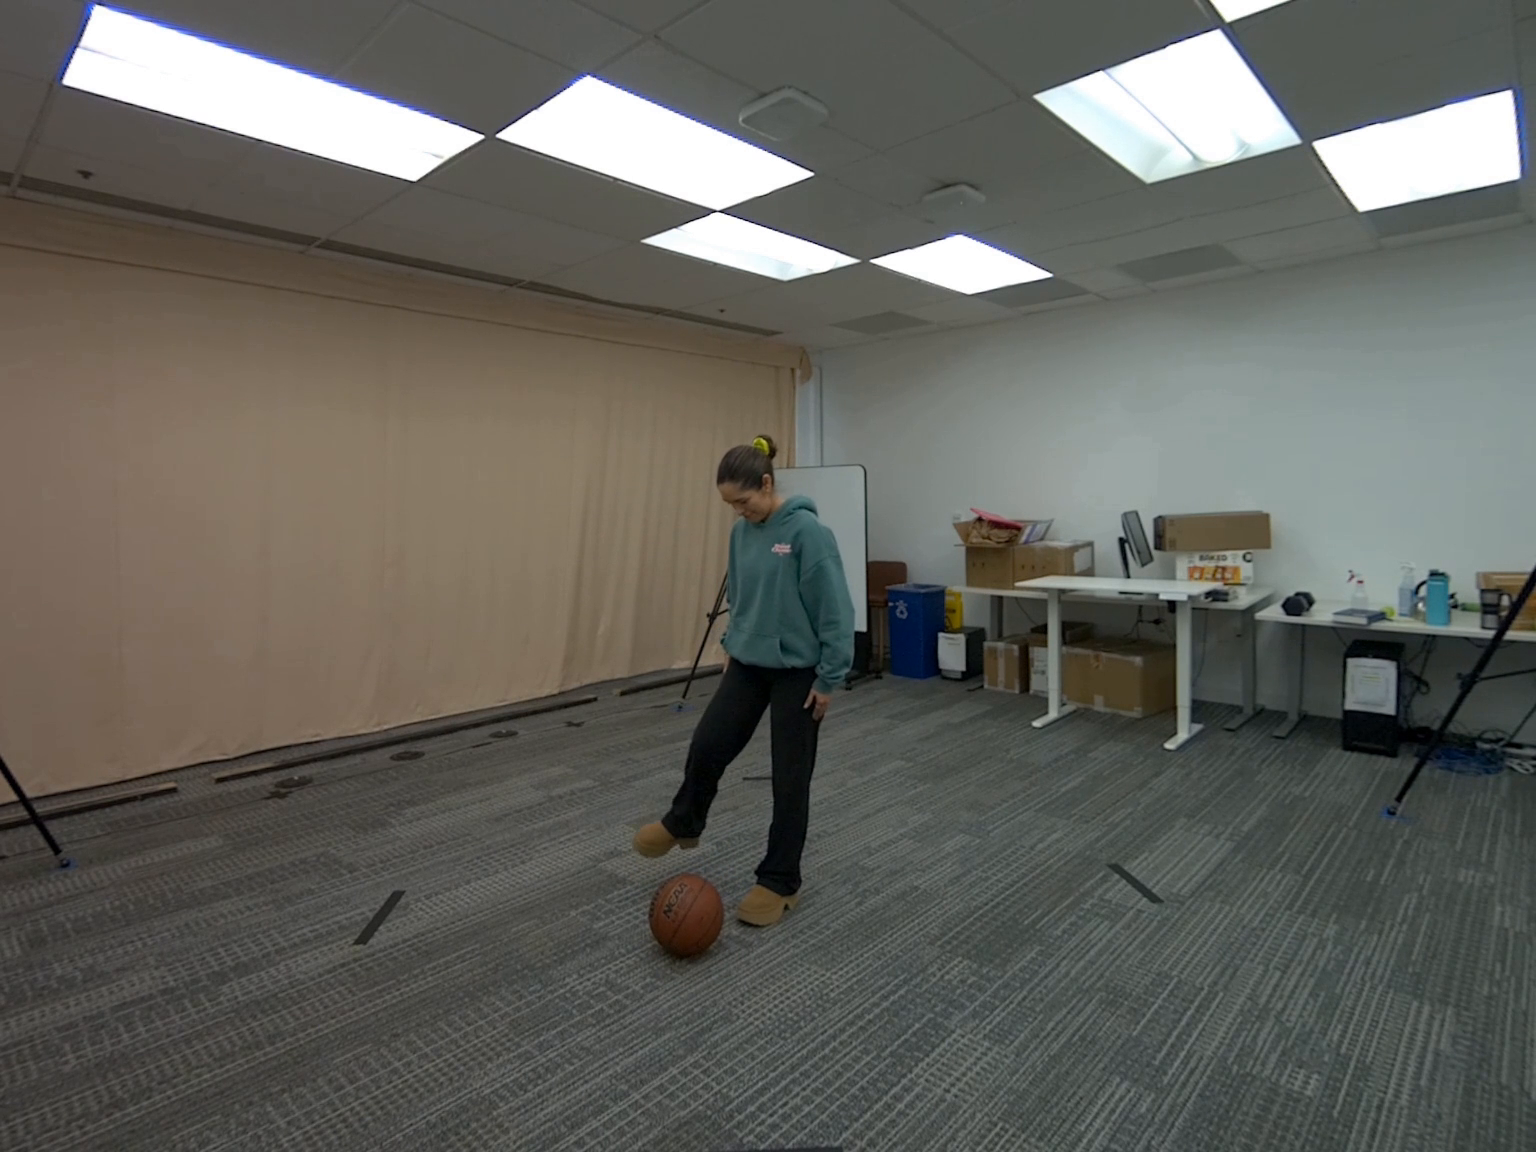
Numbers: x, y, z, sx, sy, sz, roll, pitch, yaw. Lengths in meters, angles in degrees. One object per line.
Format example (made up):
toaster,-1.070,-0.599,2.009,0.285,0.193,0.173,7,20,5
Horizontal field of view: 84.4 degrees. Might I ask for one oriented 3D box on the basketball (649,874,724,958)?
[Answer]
basketball,-0.248,1.051,2.630,0.236,0.235,0.237,-1,4,-2
